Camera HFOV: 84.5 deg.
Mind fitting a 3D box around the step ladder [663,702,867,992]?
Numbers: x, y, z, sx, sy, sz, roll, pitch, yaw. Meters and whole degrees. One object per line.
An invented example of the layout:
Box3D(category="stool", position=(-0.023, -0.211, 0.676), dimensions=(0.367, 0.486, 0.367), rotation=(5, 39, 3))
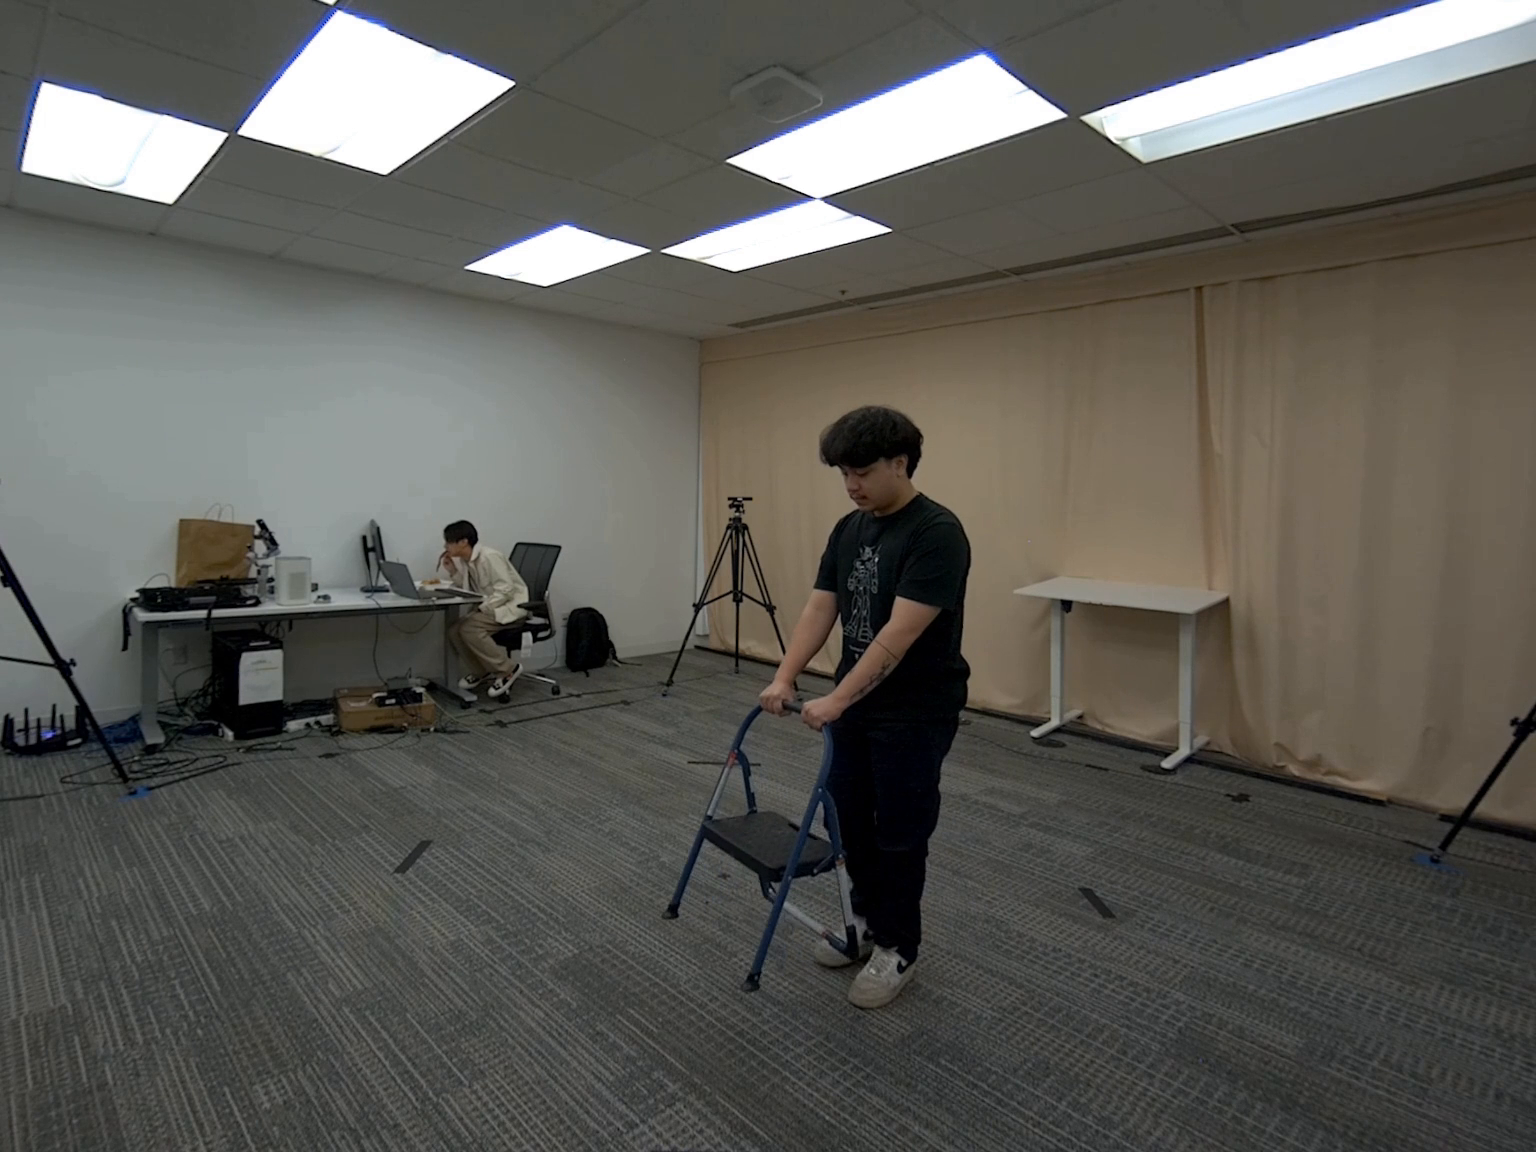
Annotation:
Box3D(category="step ladder", position=(-0.010, 0.649, 2.188), dimensions=(0.341, 0.605, 0.441), rotation=(3, 2, -34))
